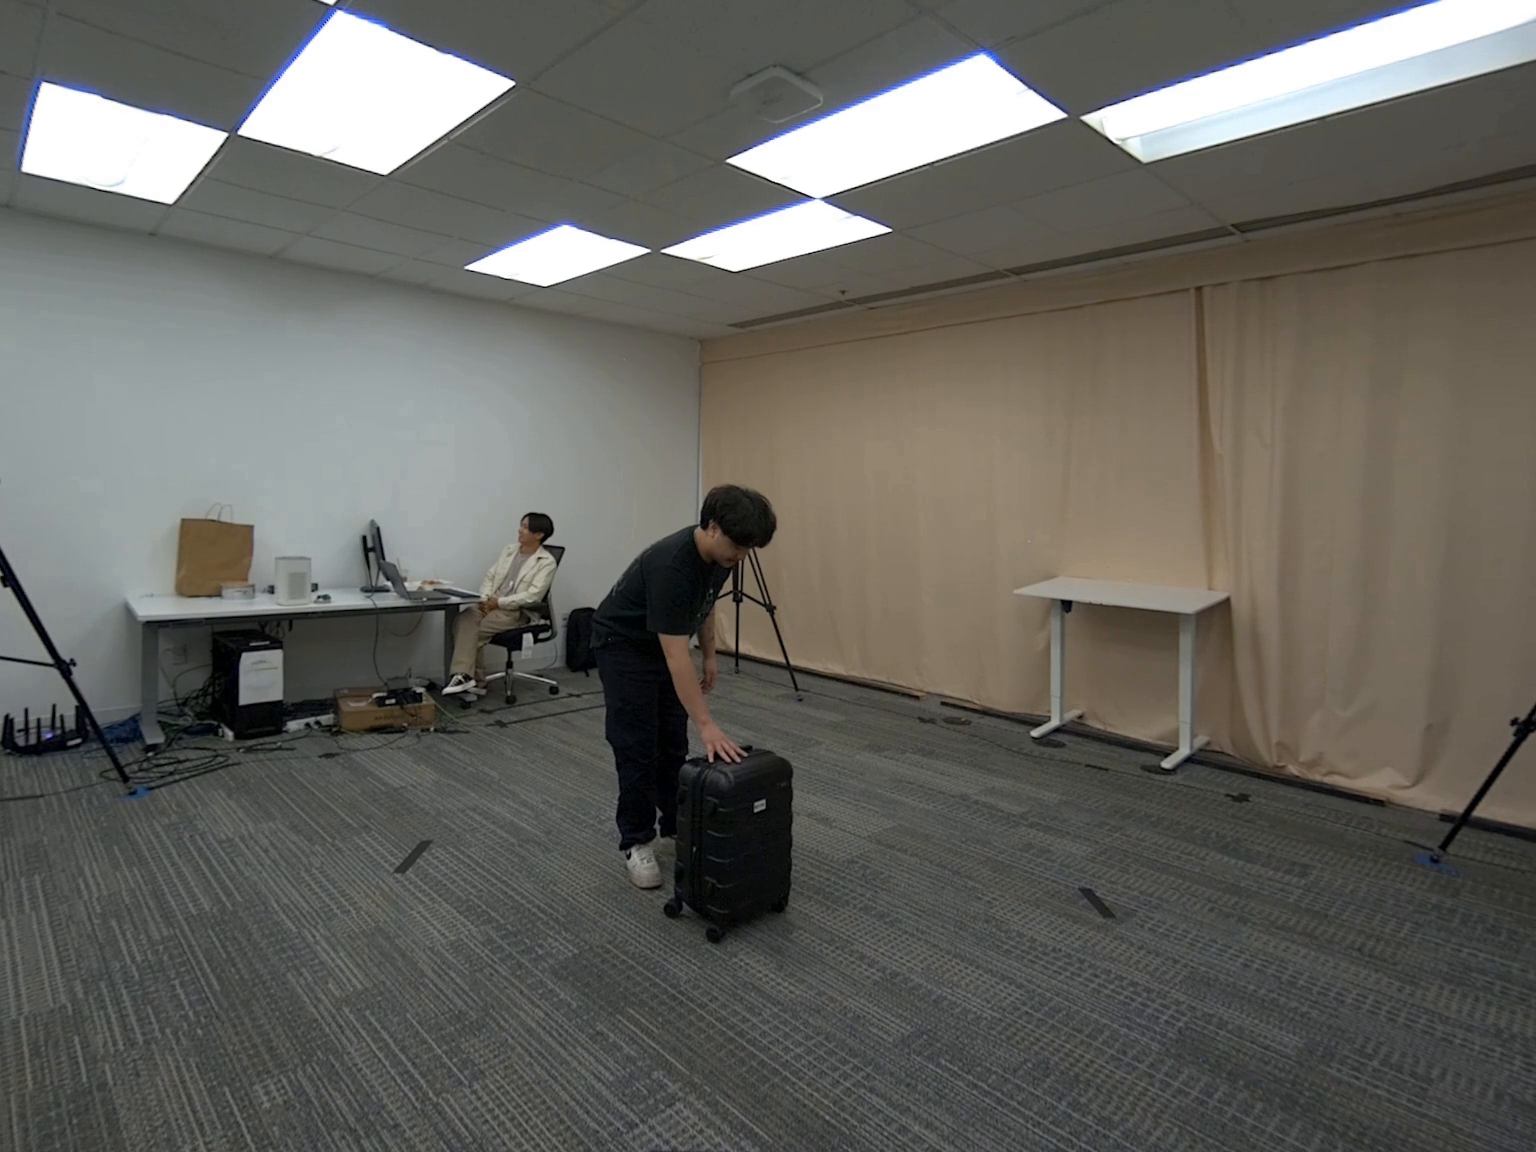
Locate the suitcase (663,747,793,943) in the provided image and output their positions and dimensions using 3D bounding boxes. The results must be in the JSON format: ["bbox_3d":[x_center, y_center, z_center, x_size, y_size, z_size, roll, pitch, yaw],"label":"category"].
[{"bbox_3d":[-0.115,0.862,2.801,0.367,0.548,0.255,-2,6,-44],"label":"suitcase"}]
